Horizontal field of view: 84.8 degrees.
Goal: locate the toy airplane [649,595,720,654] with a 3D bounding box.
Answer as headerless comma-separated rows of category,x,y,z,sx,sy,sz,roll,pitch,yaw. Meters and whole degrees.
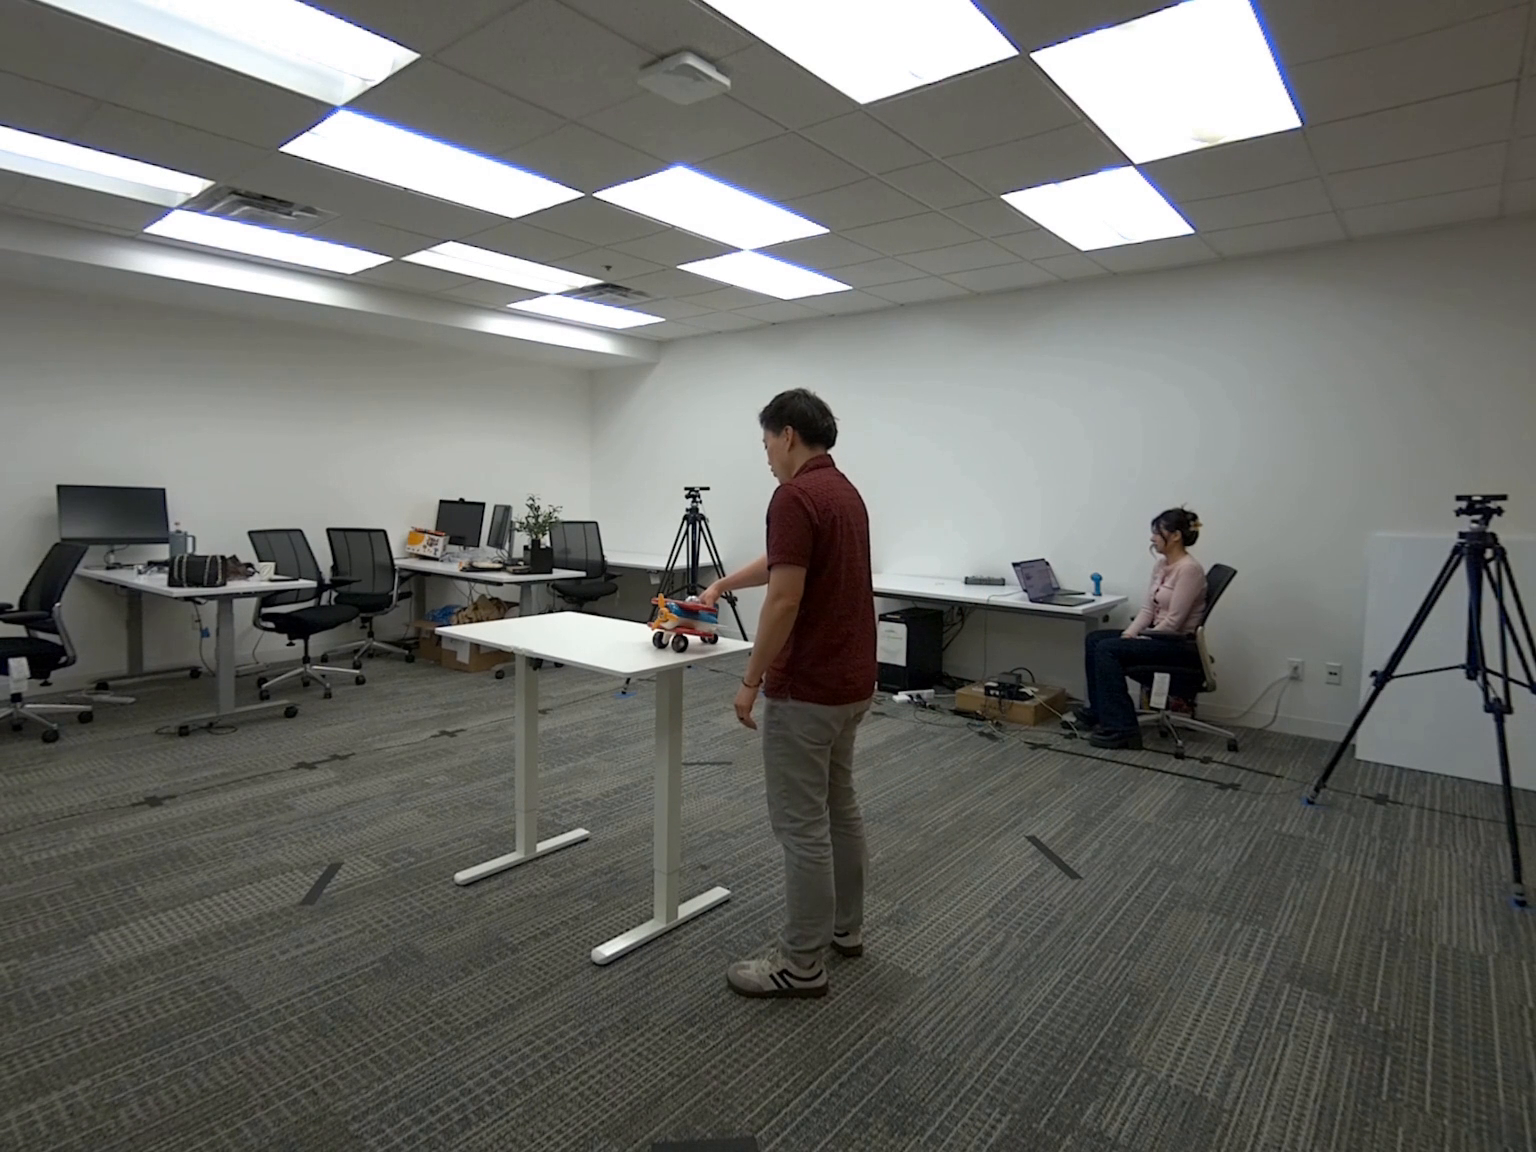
toy airplane,-0.277,0.143,2.728,0.255,0.155,0.257,3,7,13
